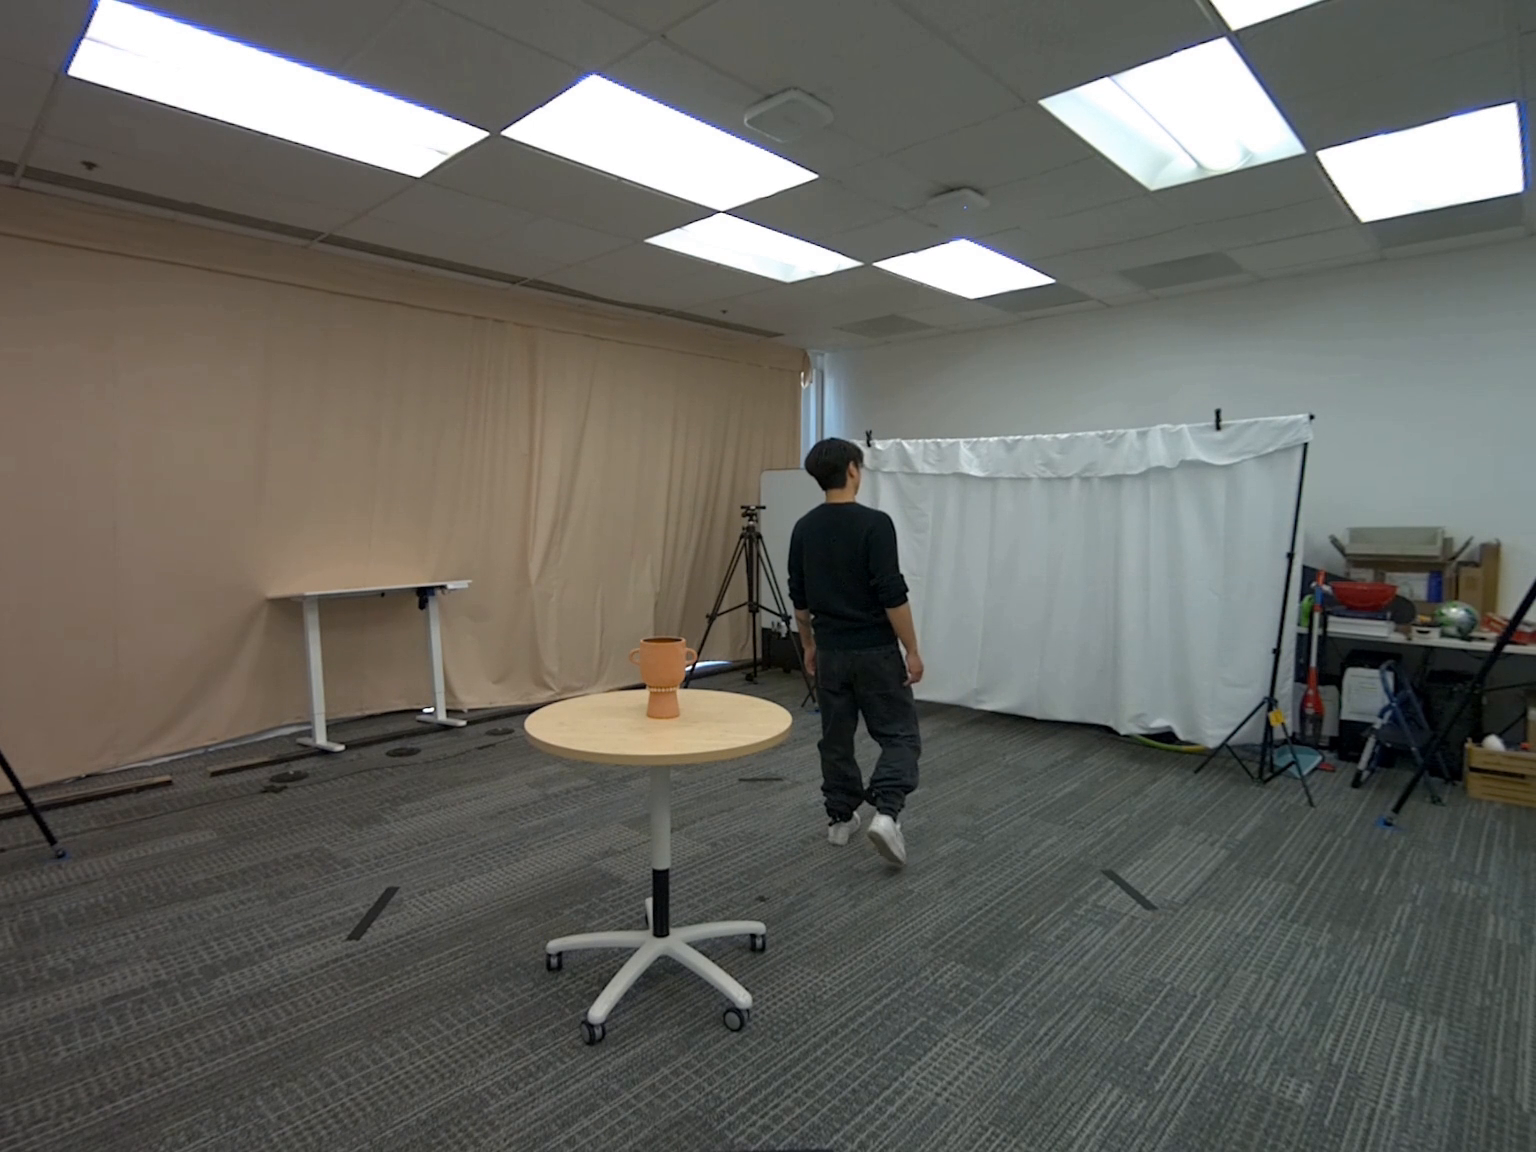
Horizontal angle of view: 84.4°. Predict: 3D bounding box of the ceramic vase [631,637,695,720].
[{"bbox_3d":[-0.306,0.299,2.450,0.164,0.219,0.130,2,3,37],"label":"ceramic vase"}]
